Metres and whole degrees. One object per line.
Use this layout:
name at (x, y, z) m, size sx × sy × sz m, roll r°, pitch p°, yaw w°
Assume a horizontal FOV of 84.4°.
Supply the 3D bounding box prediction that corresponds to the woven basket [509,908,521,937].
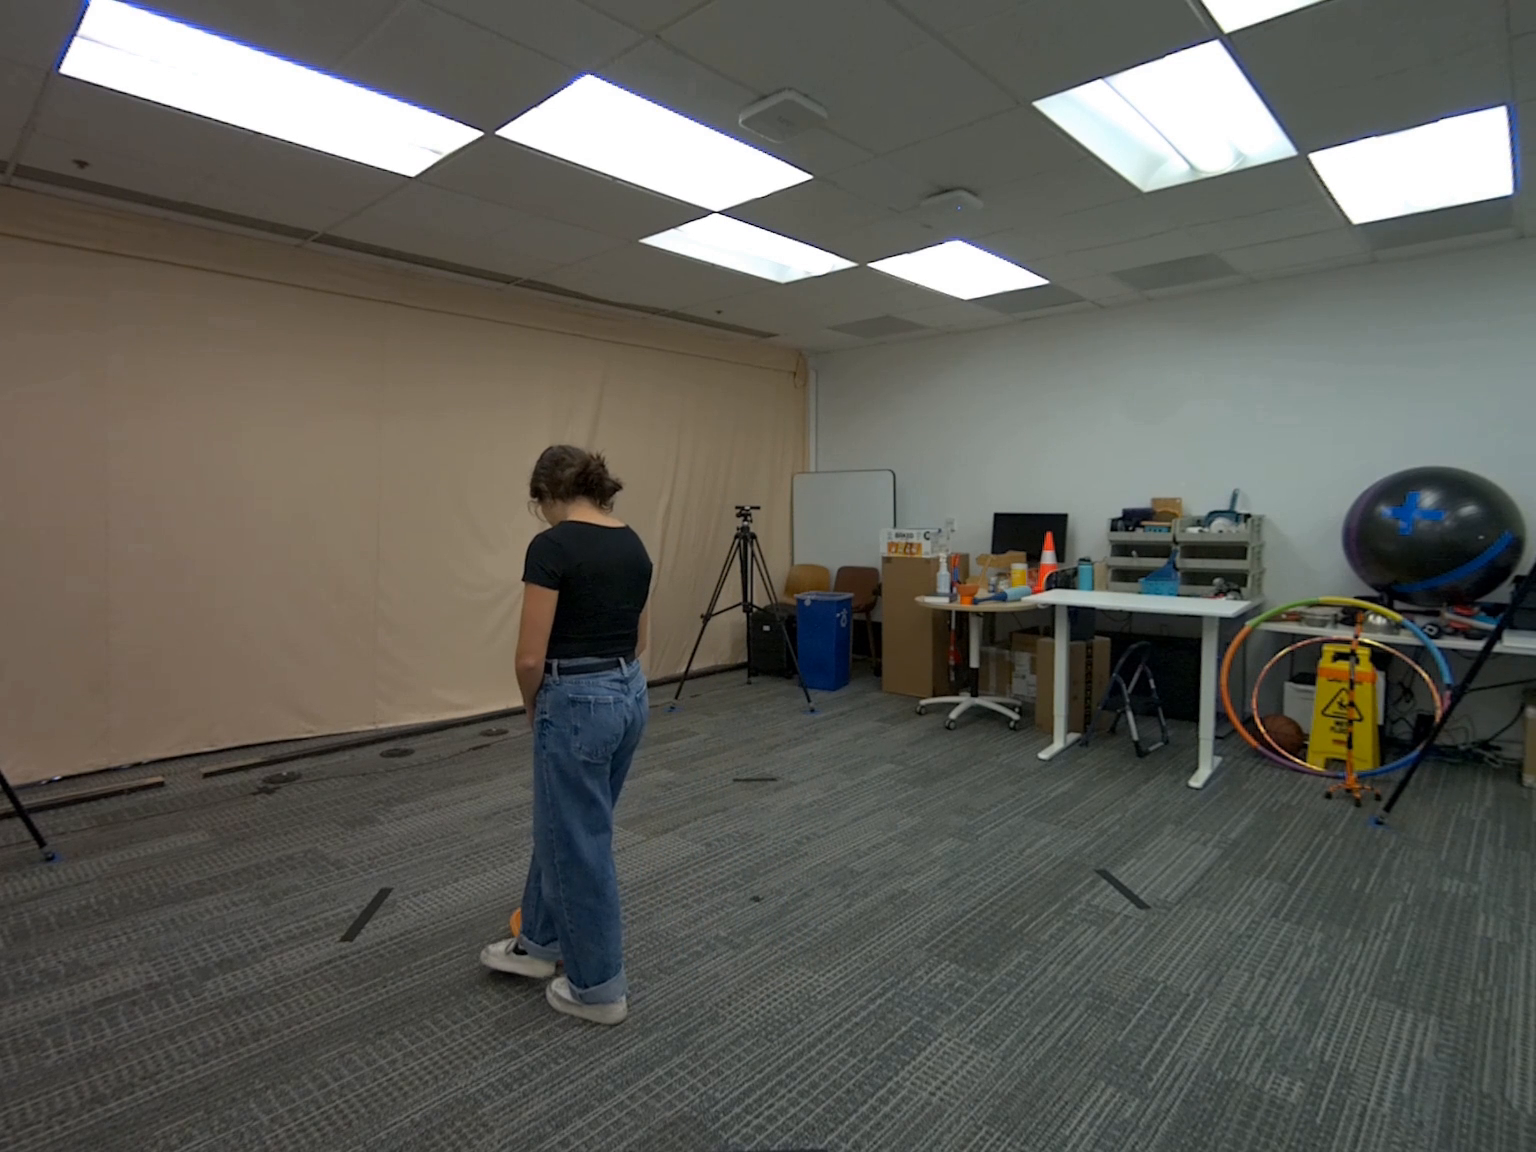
woven basket at (-0.688, 1.136, 2.683) m, size 0.246 × 0.073 × 0.360 m, roll -5°, pitch 7°, yaw -26°
